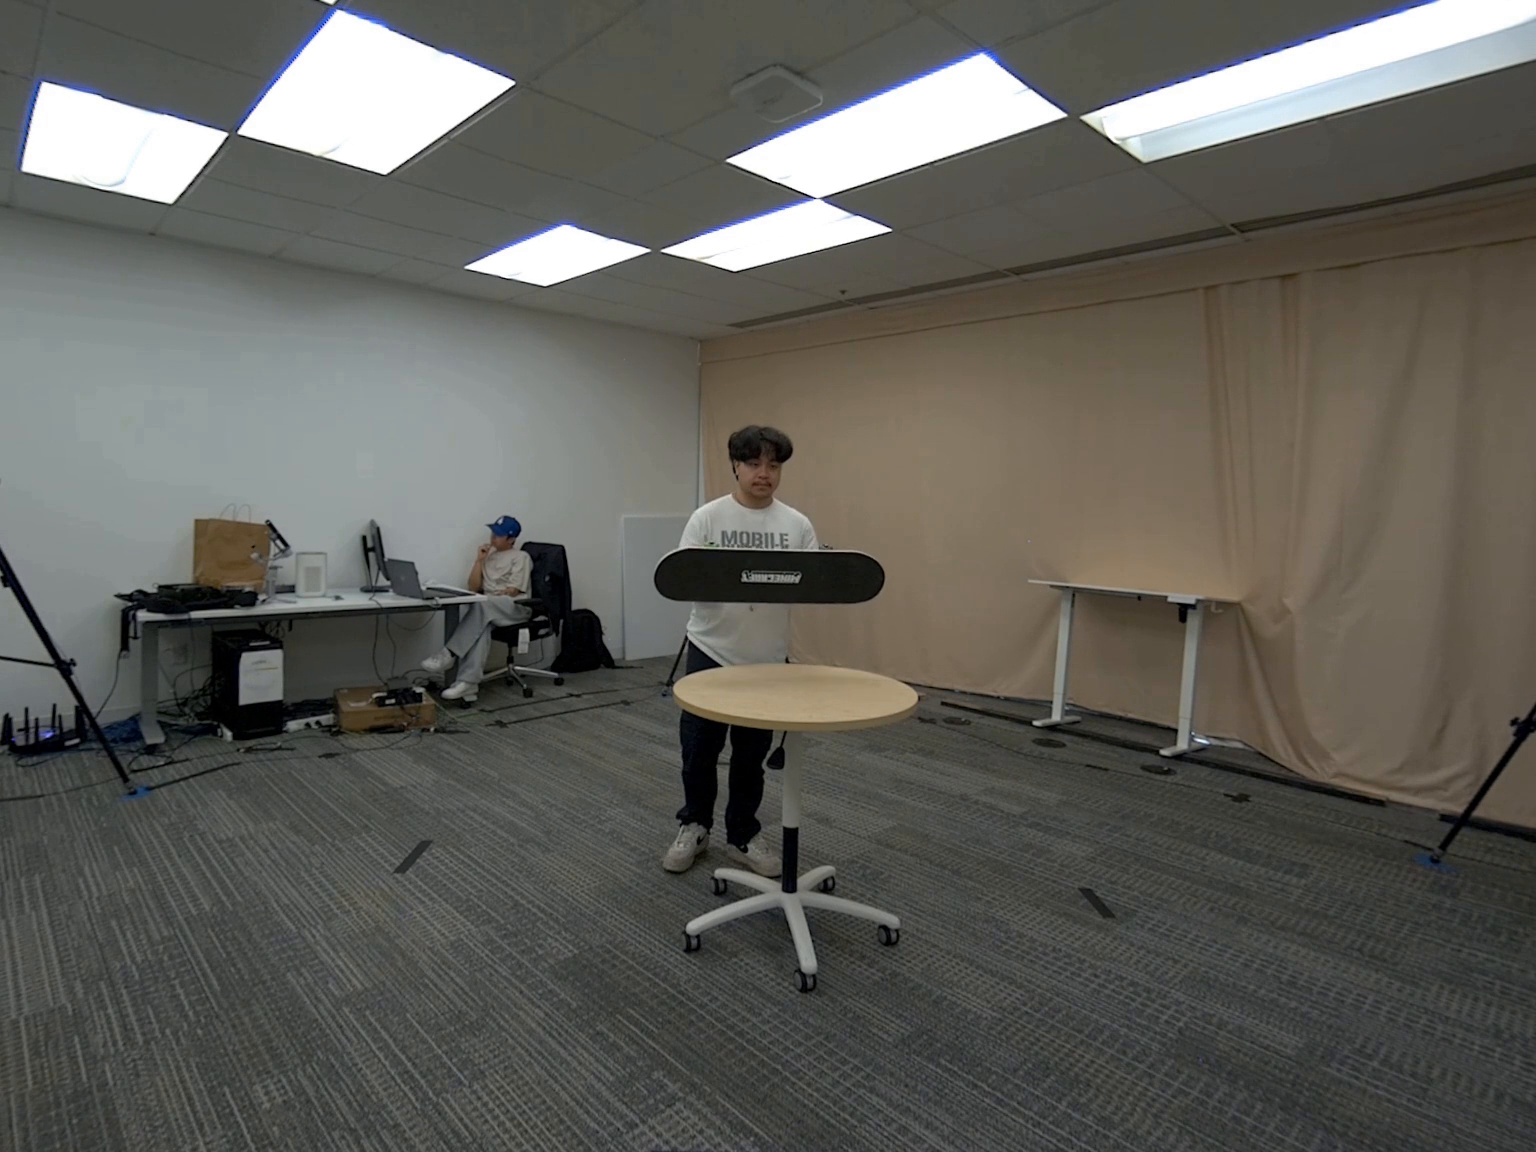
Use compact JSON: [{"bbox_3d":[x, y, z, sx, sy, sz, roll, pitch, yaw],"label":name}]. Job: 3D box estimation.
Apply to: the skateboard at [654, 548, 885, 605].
[{"bbox_3d":[-0.001,-0.006,2.833,0.777,0.191,0.112,1,17,-12],"label":"skateboard"}]
